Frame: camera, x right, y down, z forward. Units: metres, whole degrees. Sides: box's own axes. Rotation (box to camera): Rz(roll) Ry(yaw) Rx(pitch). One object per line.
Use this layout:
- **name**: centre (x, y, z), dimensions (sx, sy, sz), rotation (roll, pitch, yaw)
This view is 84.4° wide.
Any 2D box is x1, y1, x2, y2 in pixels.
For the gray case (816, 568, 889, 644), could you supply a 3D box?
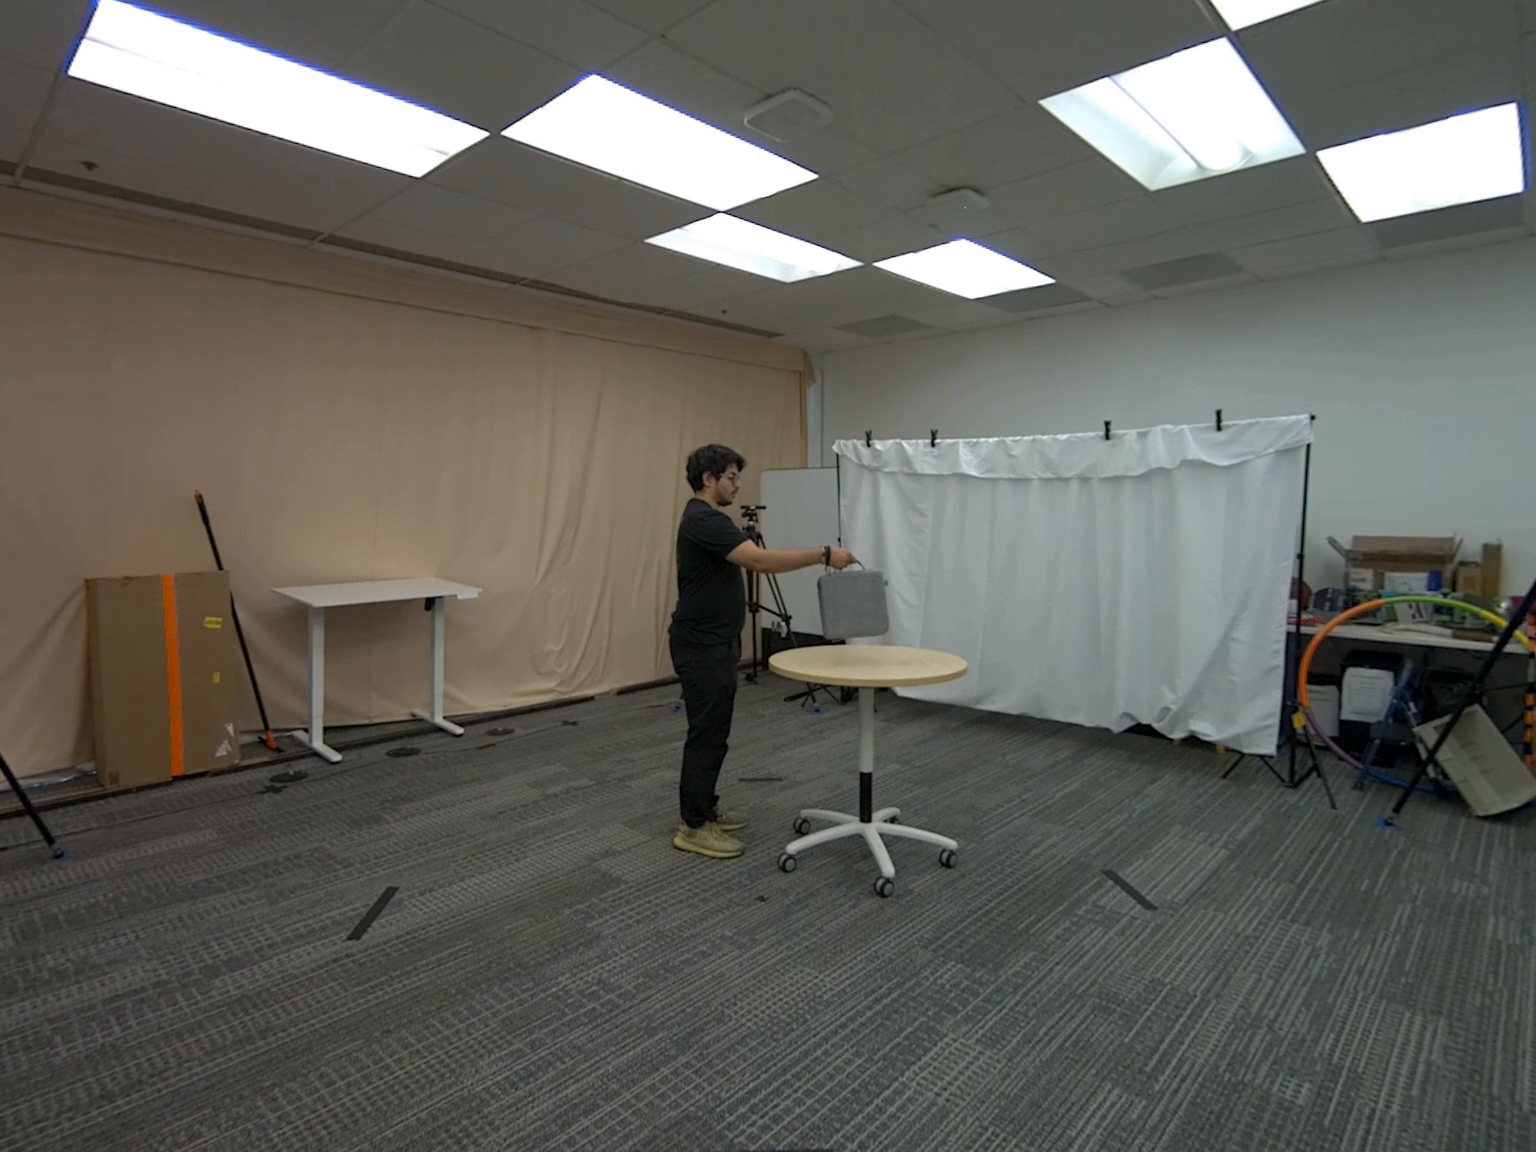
- **gray case**: centre (0.334, 0.107, 3.264), dimensions (0.257, 0.261, 0.104), rotation (-7, -3, 2)
